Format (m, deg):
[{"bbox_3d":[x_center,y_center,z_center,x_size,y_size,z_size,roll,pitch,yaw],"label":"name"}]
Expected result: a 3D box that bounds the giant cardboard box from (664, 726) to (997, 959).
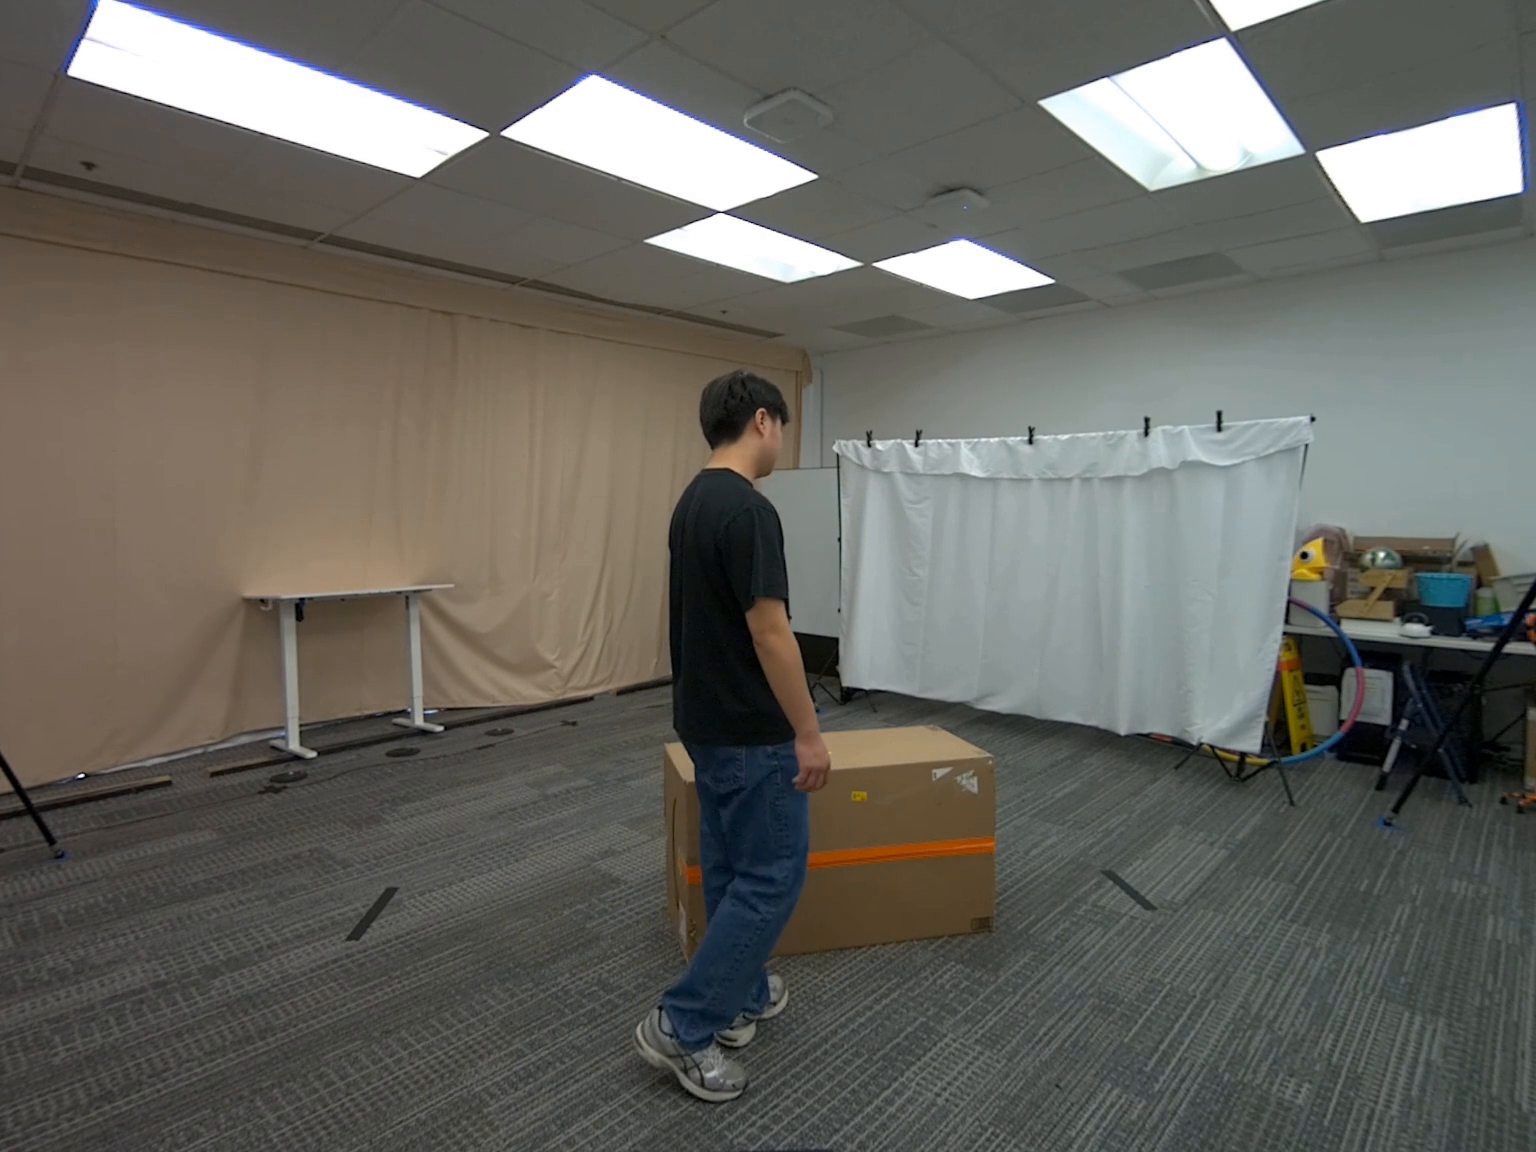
[{"bbox_3d":[0.192,0.868,2.832,1.013,0.582,0.454,-2,5,-13],"label":"giant cardboard box"}]
